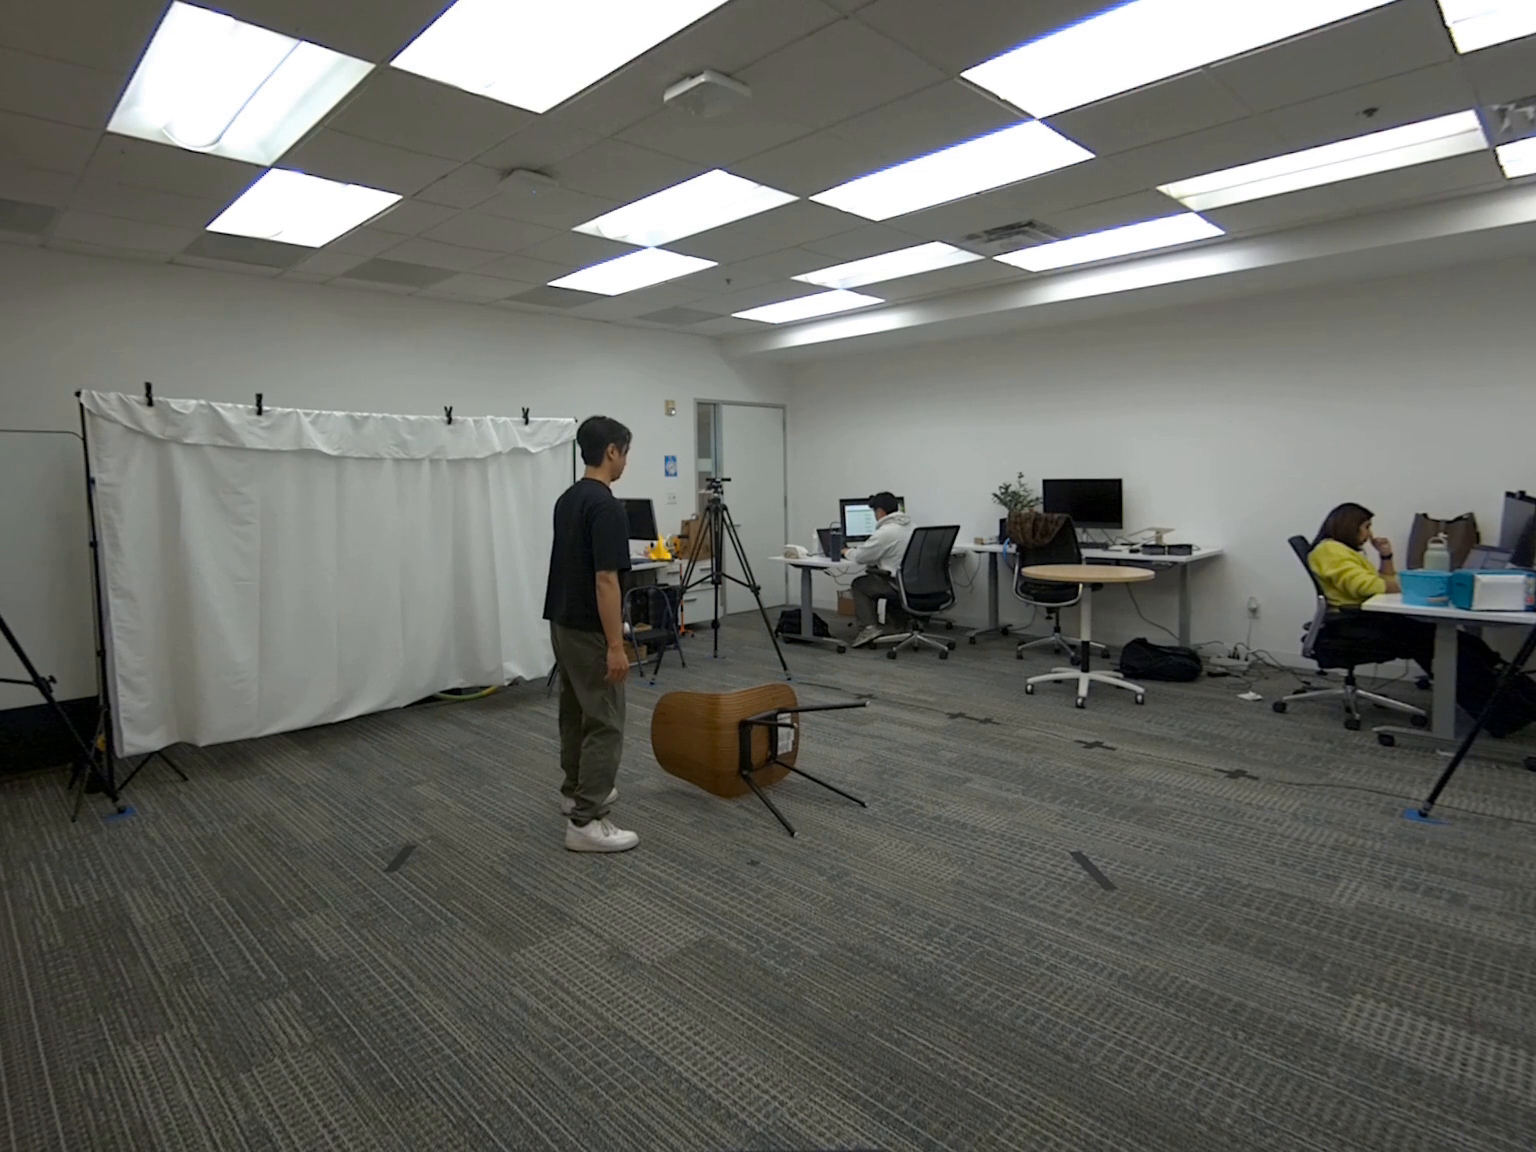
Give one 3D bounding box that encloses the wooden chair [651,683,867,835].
[{"bbox_3d":[-0.034,0.736,3.771,0.904,0.476,0.510,5,8,42],"label":"wooden chair"}]
